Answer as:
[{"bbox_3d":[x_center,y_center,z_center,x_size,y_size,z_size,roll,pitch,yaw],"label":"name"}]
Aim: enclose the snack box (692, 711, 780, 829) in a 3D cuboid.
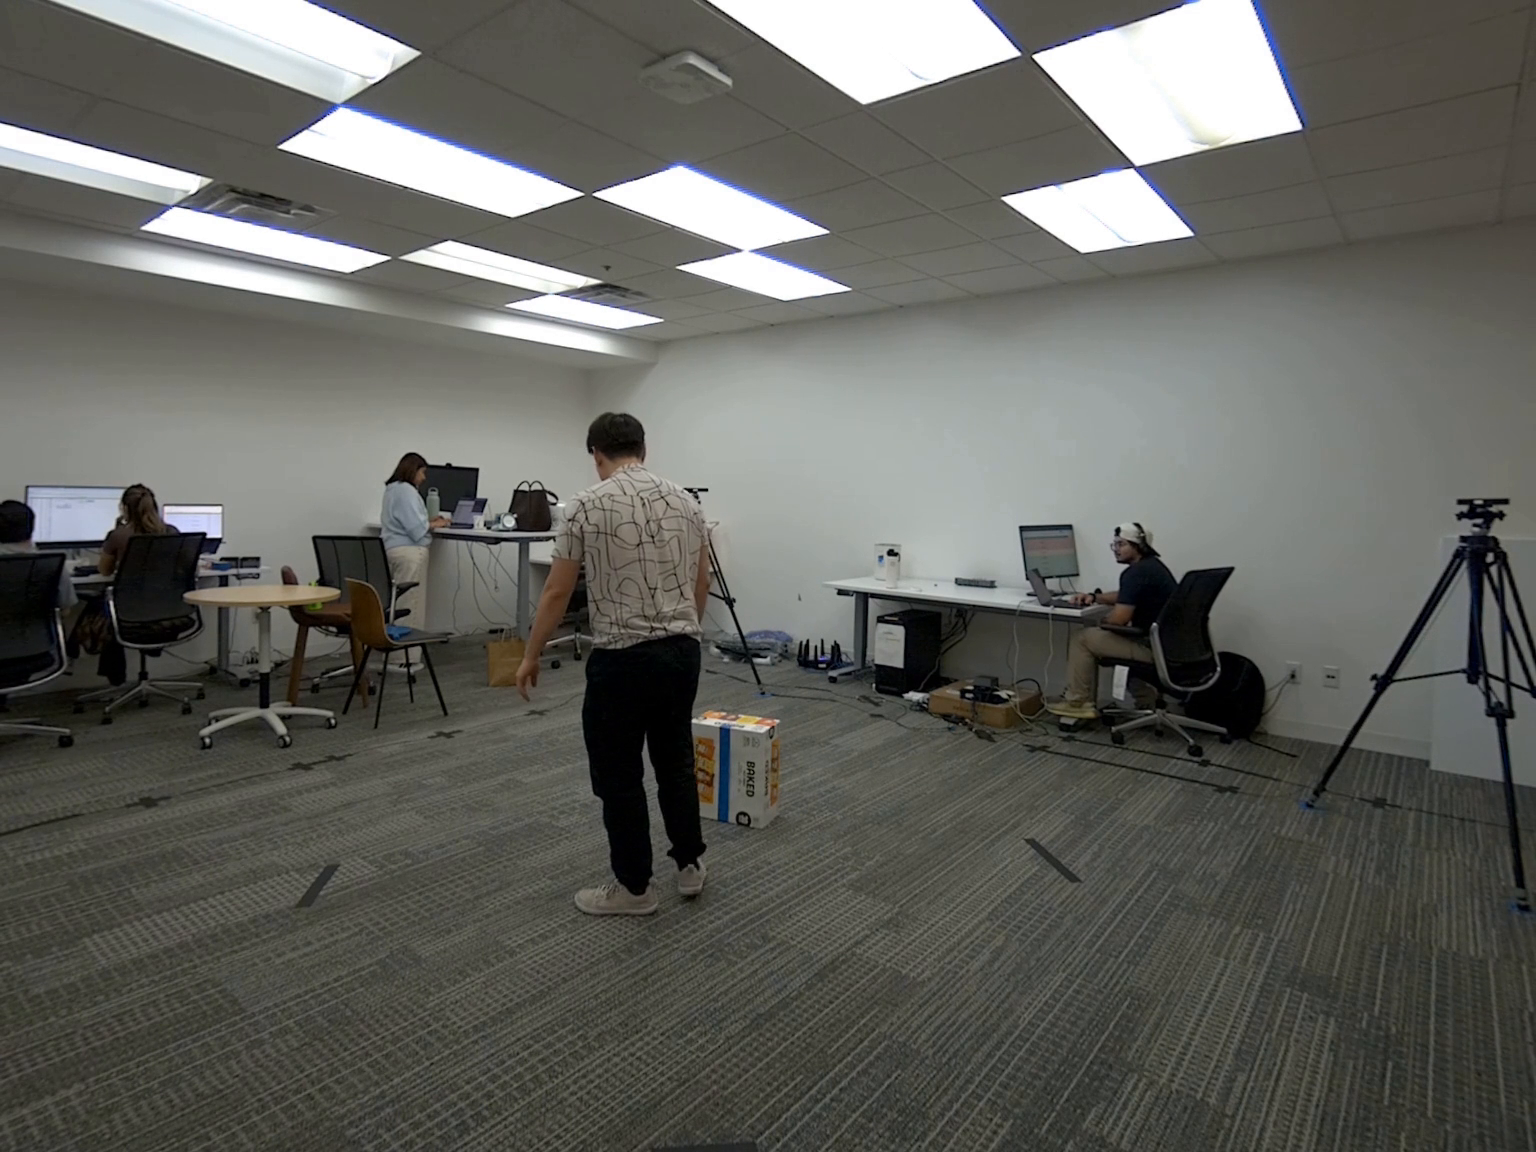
[{"bbox_3d":[-0.151,0.814,3.636,0.349,0.404,0.201,3,4,24],"label":"snack box"}]
